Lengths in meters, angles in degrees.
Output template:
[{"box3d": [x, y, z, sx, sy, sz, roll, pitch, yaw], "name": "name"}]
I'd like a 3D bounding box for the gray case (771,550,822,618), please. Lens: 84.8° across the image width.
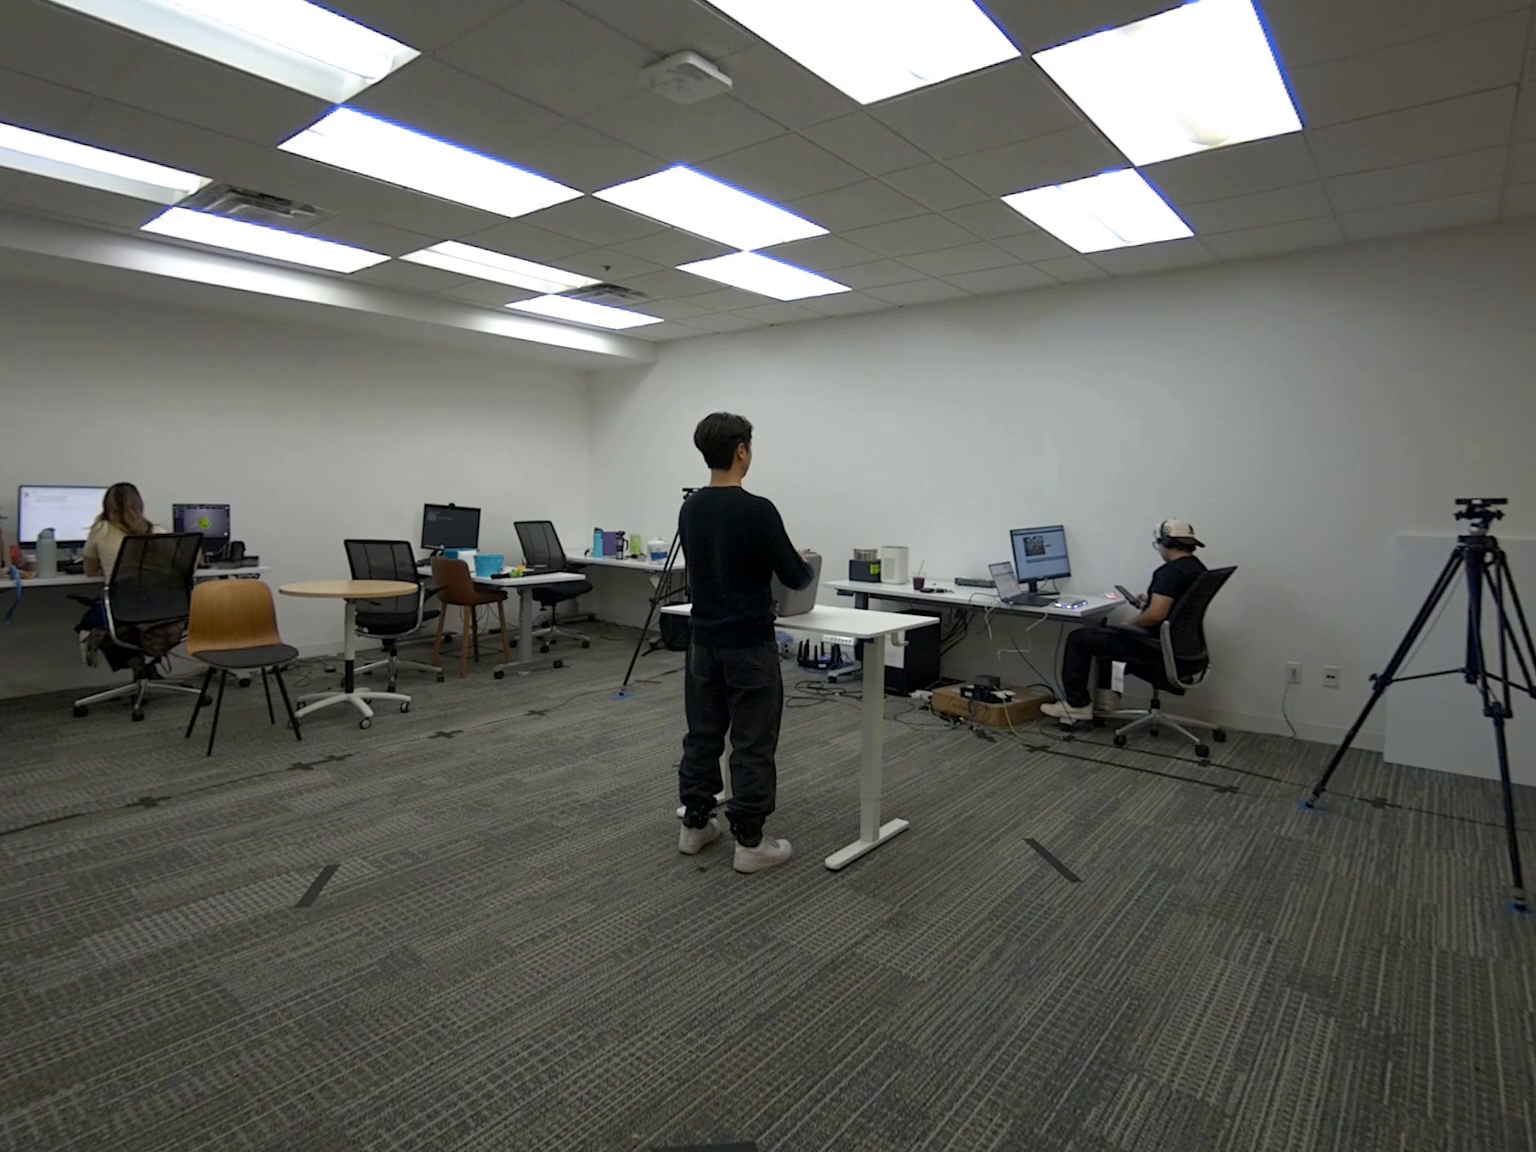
[{"box3d": [0.106, 0.023, 3.501, 0.108, 0.255, 0.254, 11, 9, 31], "name": "gray case"}]
